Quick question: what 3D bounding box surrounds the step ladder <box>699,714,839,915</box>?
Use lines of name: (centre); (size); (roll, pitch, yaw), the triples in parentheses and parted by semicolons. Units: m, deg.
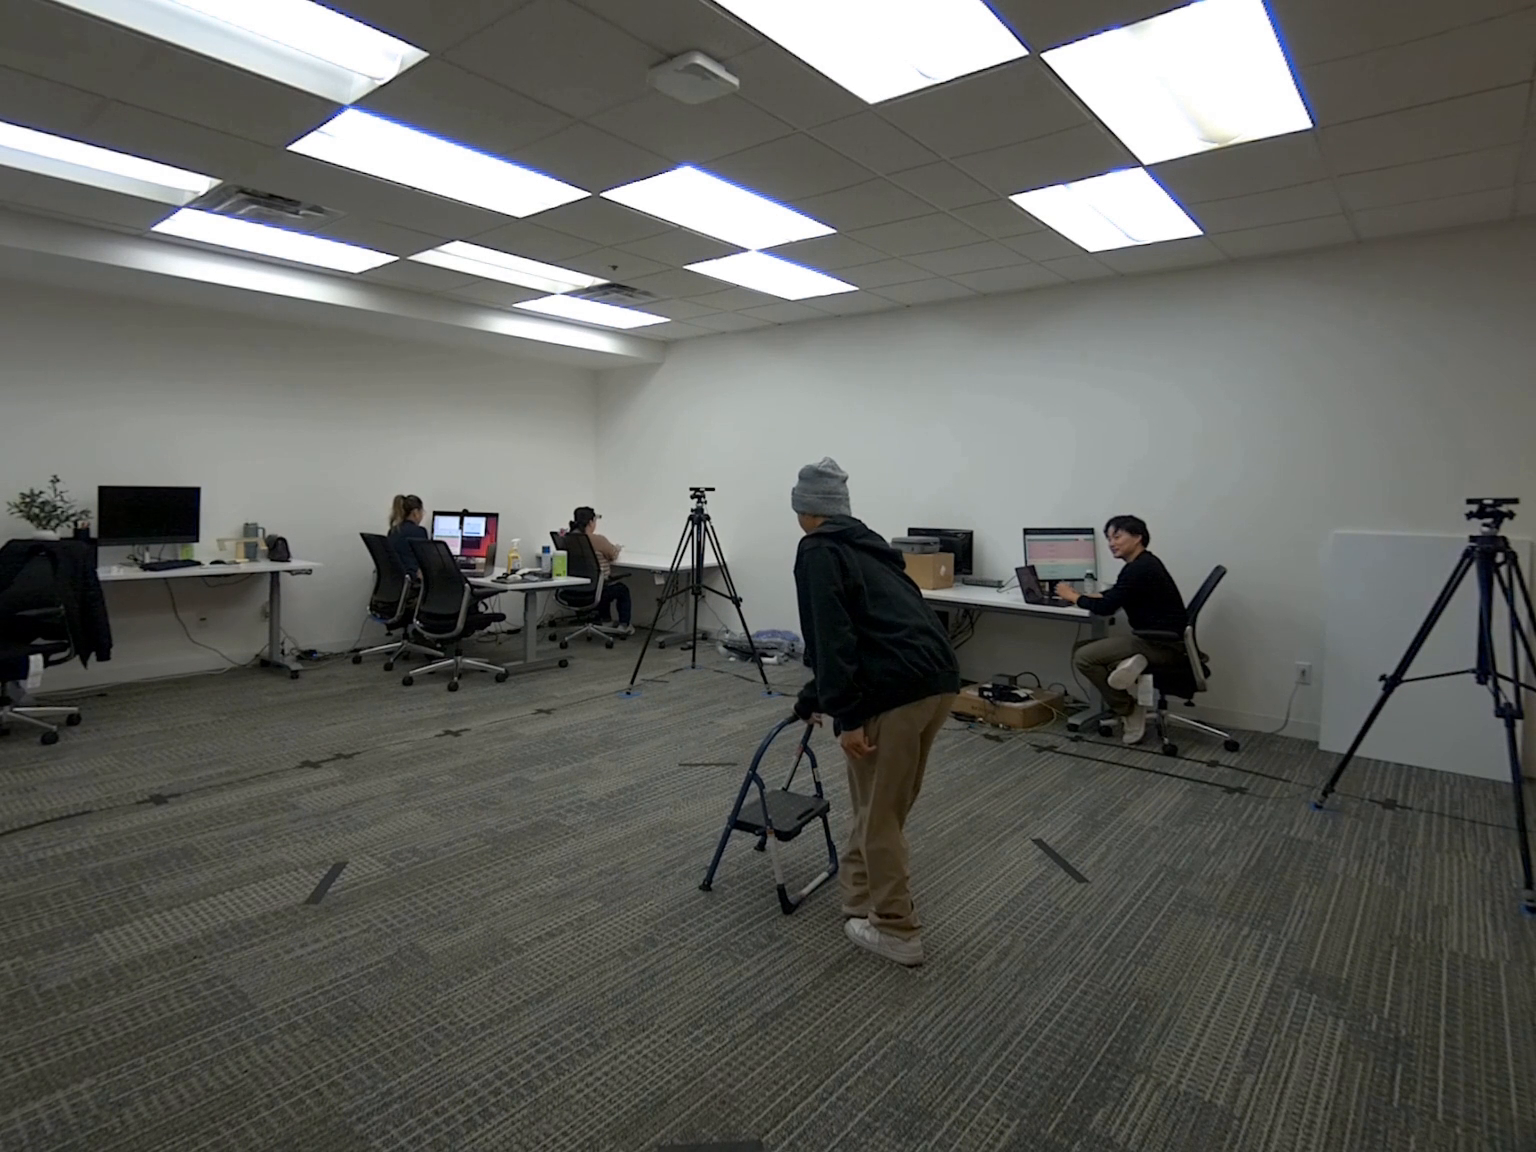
step ladder: (0.013, 0.775, 3.019); (0.359, 0.604, 0.420); (3, 4, 29)
